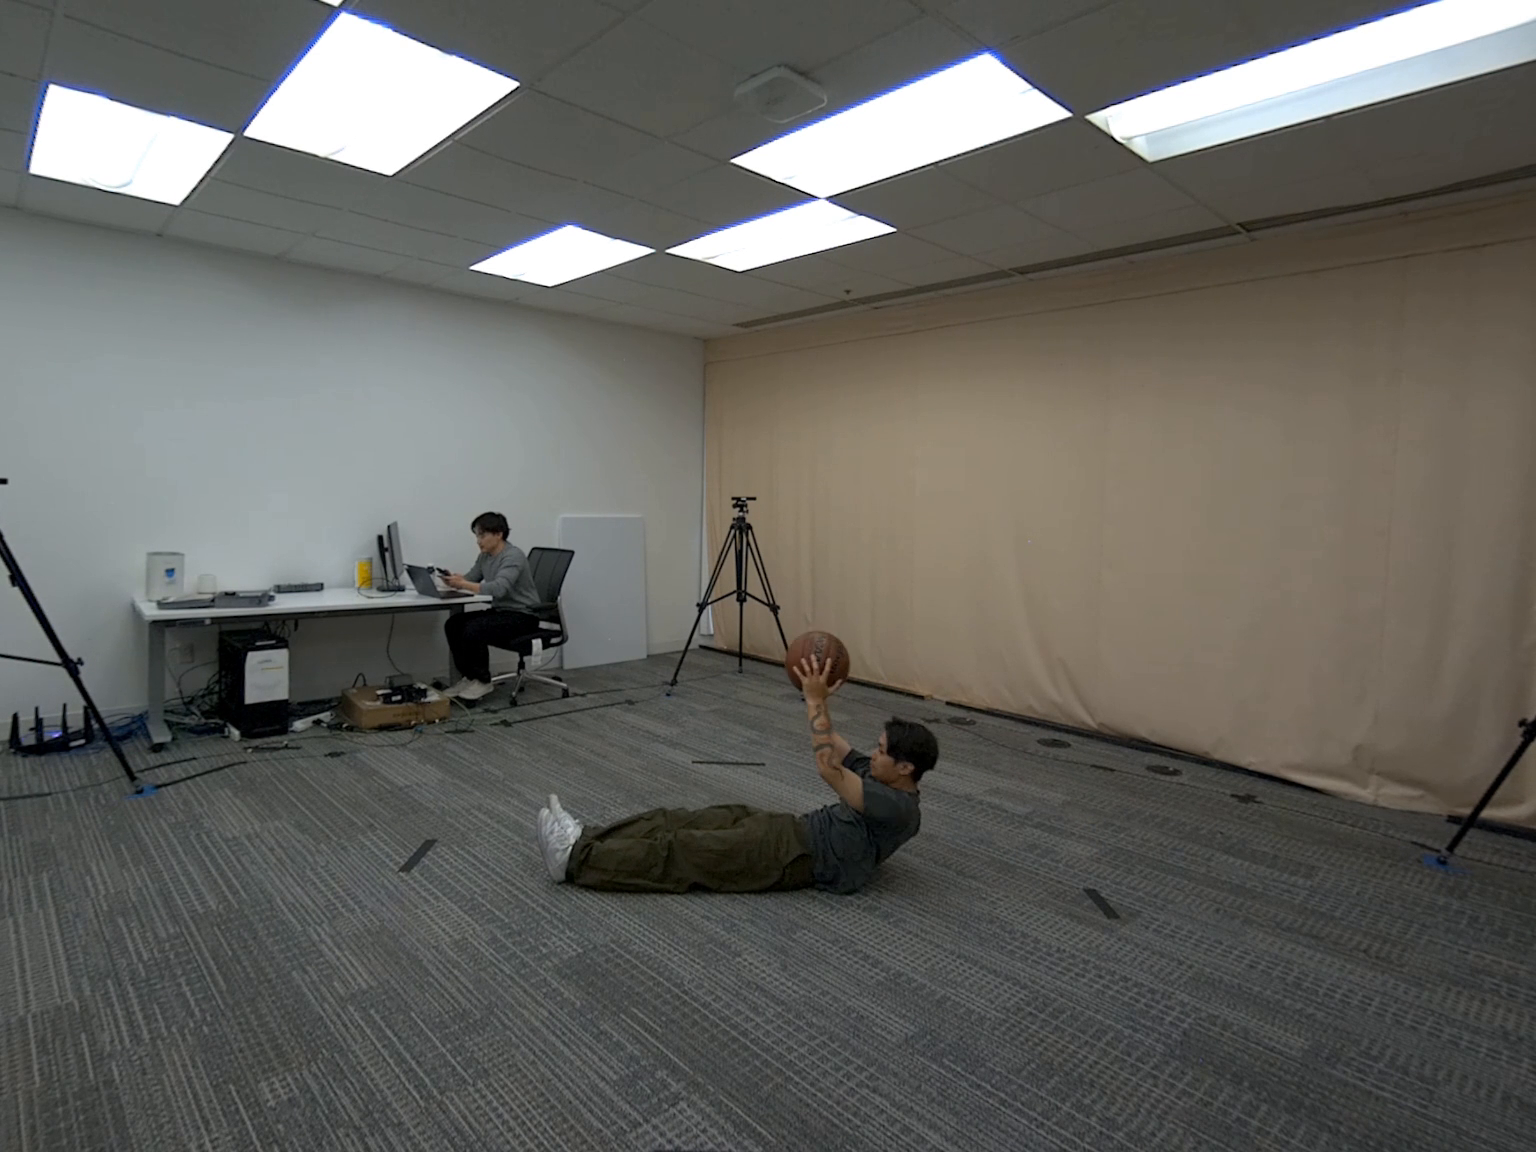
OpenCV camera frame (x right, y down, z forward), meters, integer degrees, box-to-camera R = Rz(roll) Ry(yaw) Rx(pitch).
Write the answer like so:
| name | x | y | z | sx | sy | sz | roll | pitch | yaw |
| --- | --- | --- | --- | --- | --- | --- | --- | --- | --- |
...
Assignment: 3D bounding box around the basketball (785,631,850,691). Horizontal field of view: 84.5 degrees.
| name | x | y | z | sx | sy | sz | roll | pitch | yaw |
| --- | --- | --- | --- | --- | --- | --- | --- | --- | --- |
| basketball | 0.200 | 0.332 | 3.105 | 0.236 | 0.235 | 0.237 | 1 | 4 | -1 |
